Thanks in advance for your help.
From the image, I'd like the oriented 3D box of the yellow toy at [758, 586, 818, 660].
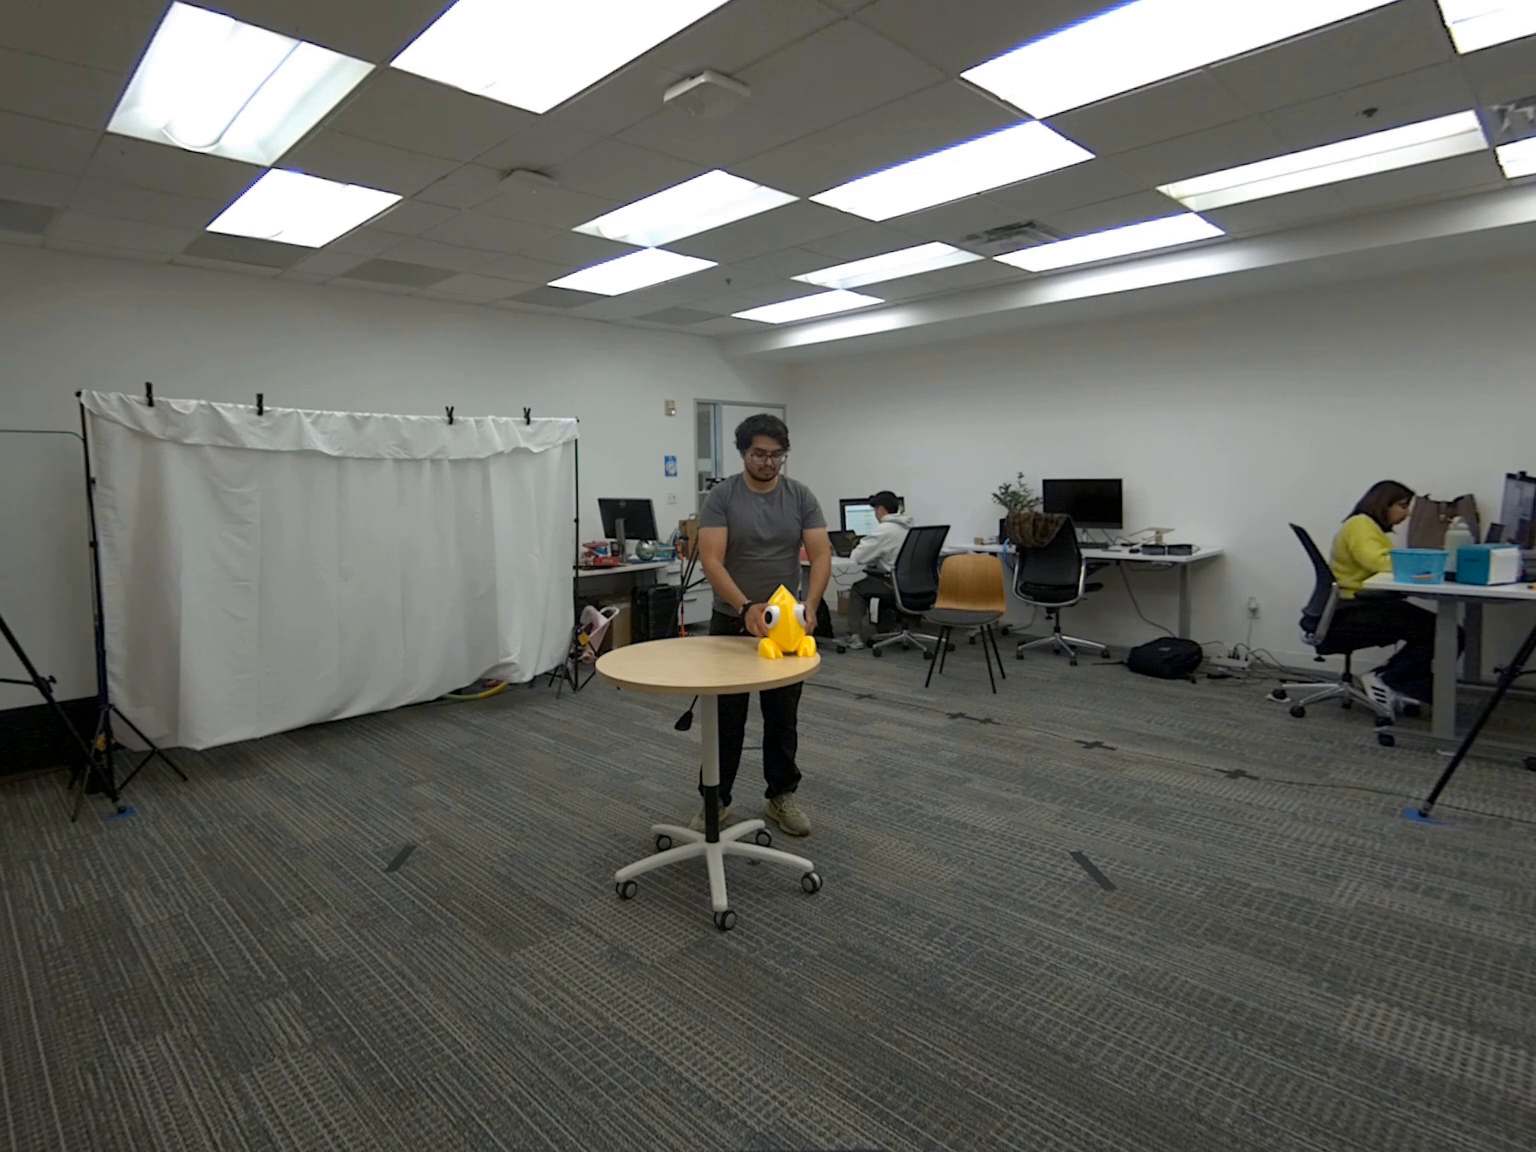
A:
[{"bbox_3d":[0.062,0.156,2.980,0.203,0.229,0.195,-4,6,-8],"label":"yellow toy"}]
